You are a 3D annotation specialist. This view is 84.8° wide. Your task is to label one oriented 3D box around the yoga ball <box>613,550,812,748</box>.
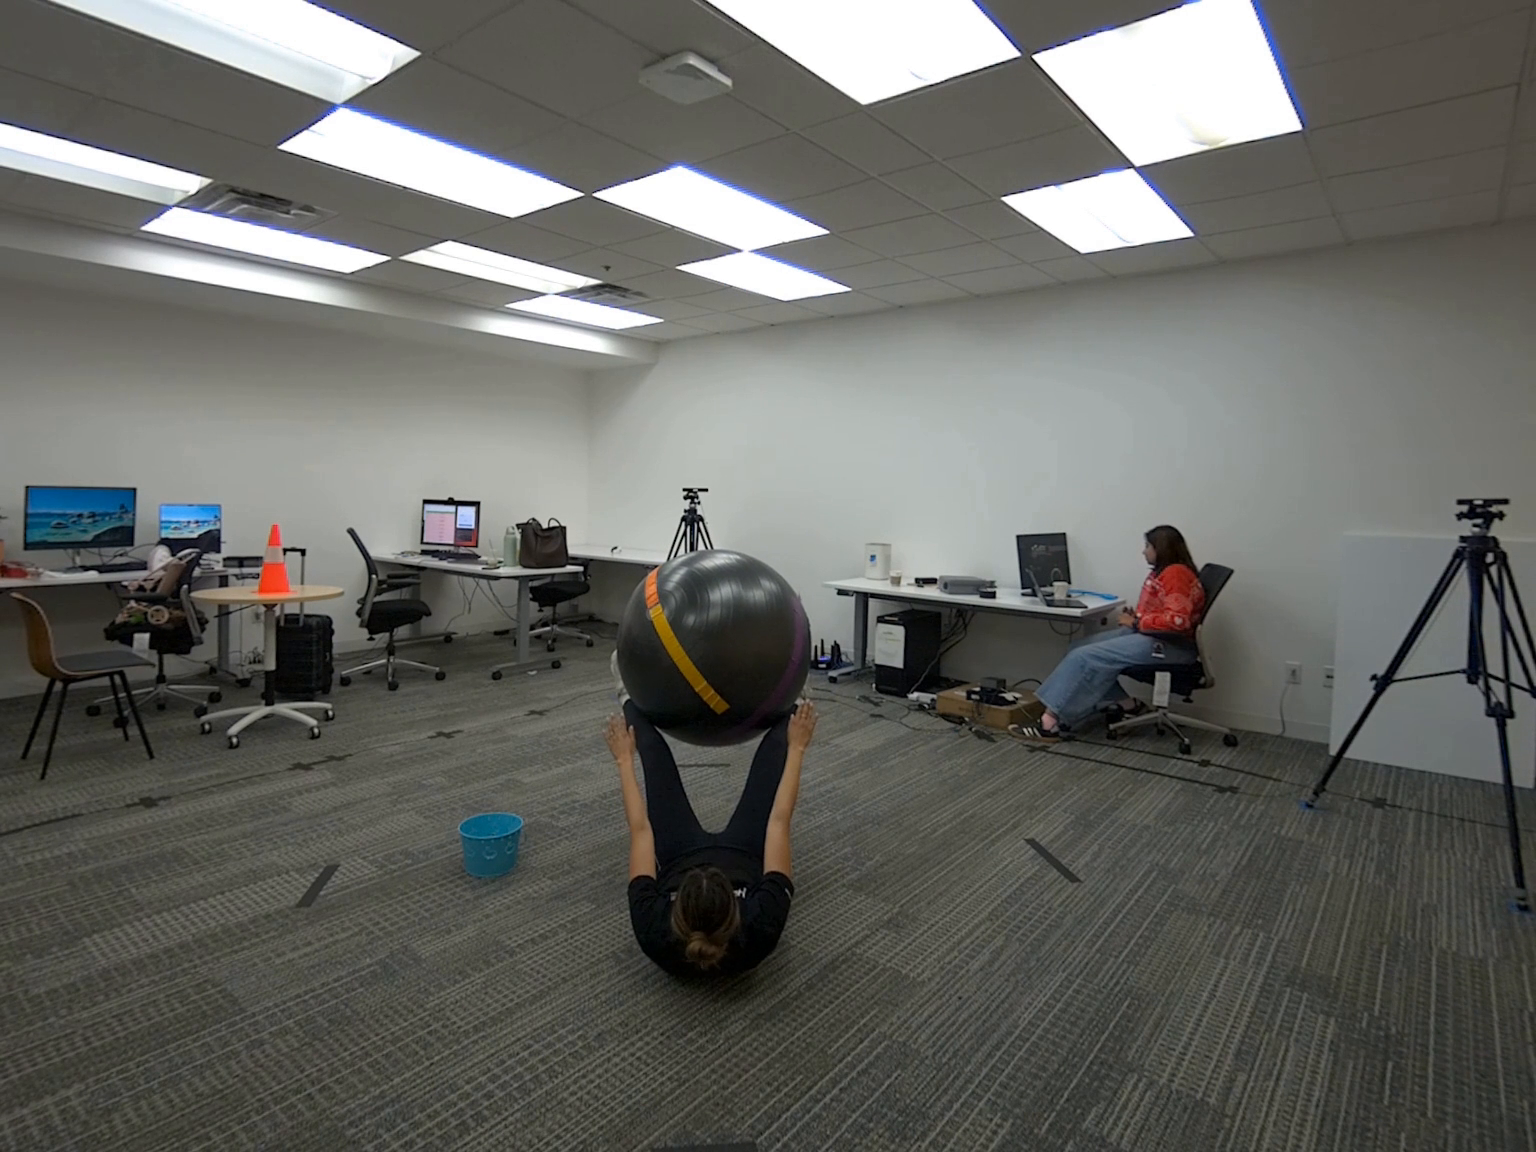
[{"bbox_3d":[-0.212,0.273,3.299,0.757,0.756,0.762,1,4,-2],"label":"yoga ball"}]
